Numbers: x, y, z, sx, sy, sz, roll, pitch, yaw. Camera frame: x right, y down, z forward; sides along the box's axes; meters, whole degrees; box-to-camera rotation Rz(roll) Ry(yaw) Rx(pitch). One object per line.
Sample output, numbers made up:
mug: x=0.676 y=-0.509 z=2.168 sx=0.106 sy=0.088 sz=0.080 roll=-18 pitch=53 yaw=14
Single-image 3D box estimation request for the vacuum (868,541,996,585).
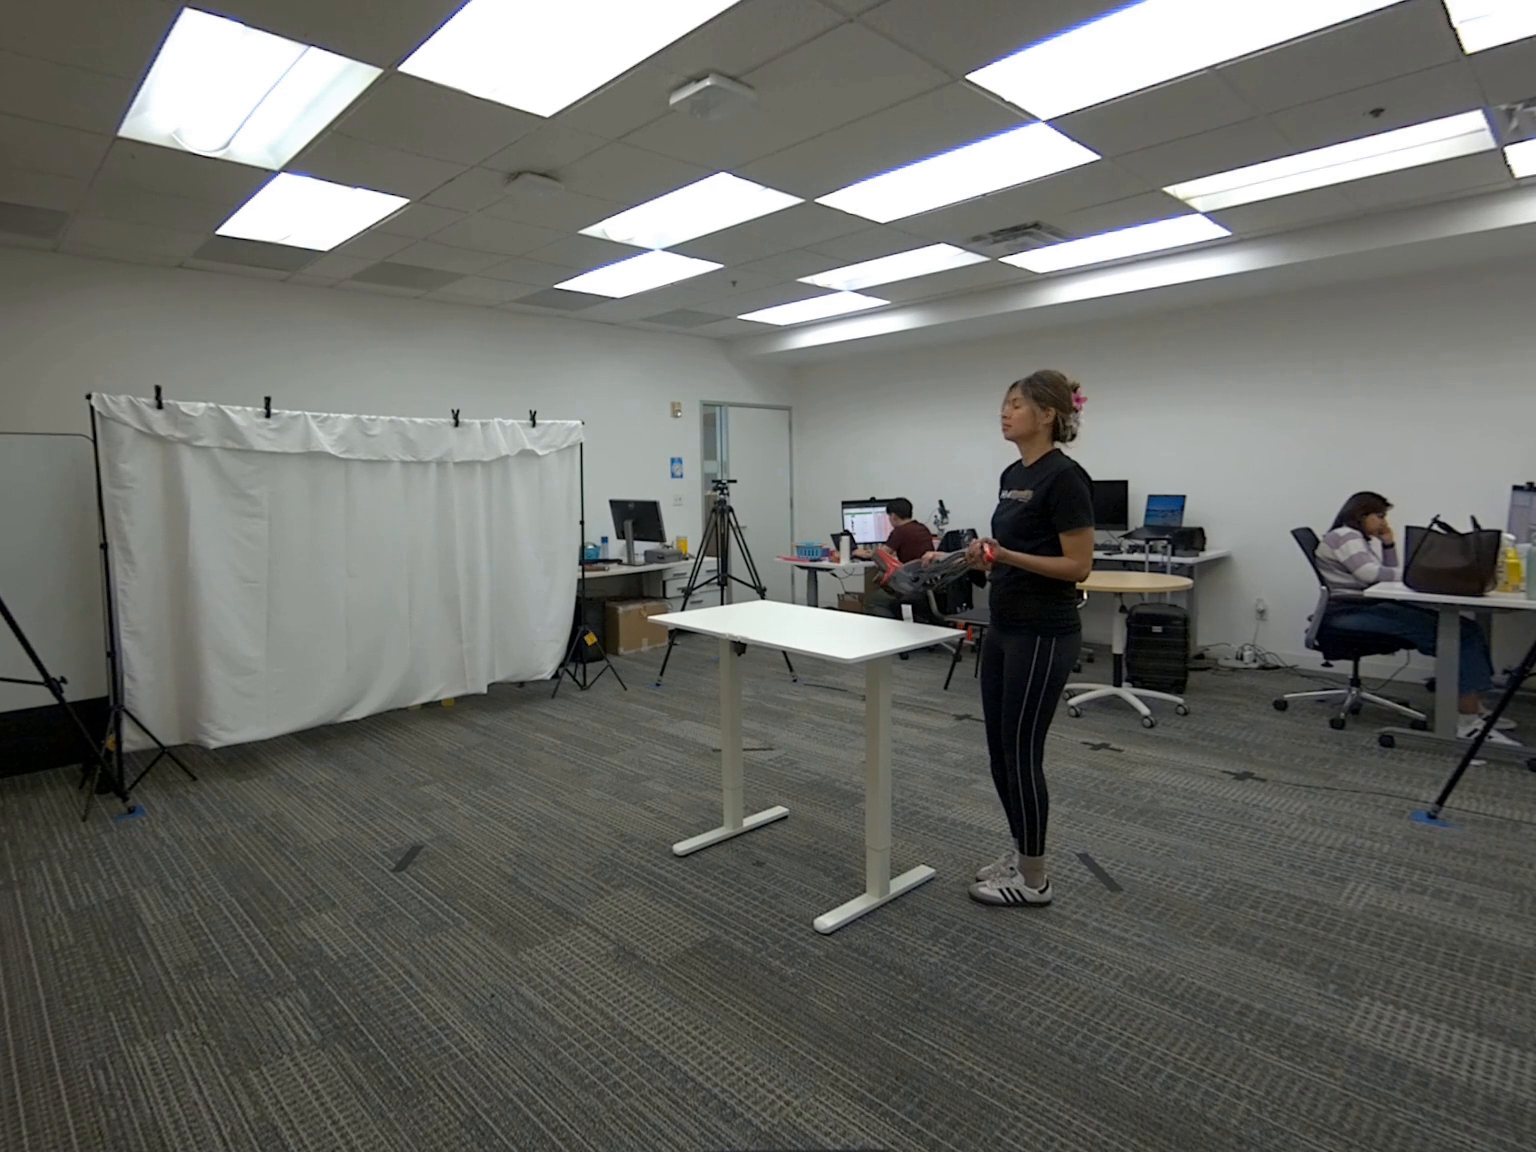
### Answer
vacuum: x=0.573 y=-0.020 z=2.954 sx=0.252 sy=0.144 sz=1.051 roll=38 pitch=-8 yaw=-4
